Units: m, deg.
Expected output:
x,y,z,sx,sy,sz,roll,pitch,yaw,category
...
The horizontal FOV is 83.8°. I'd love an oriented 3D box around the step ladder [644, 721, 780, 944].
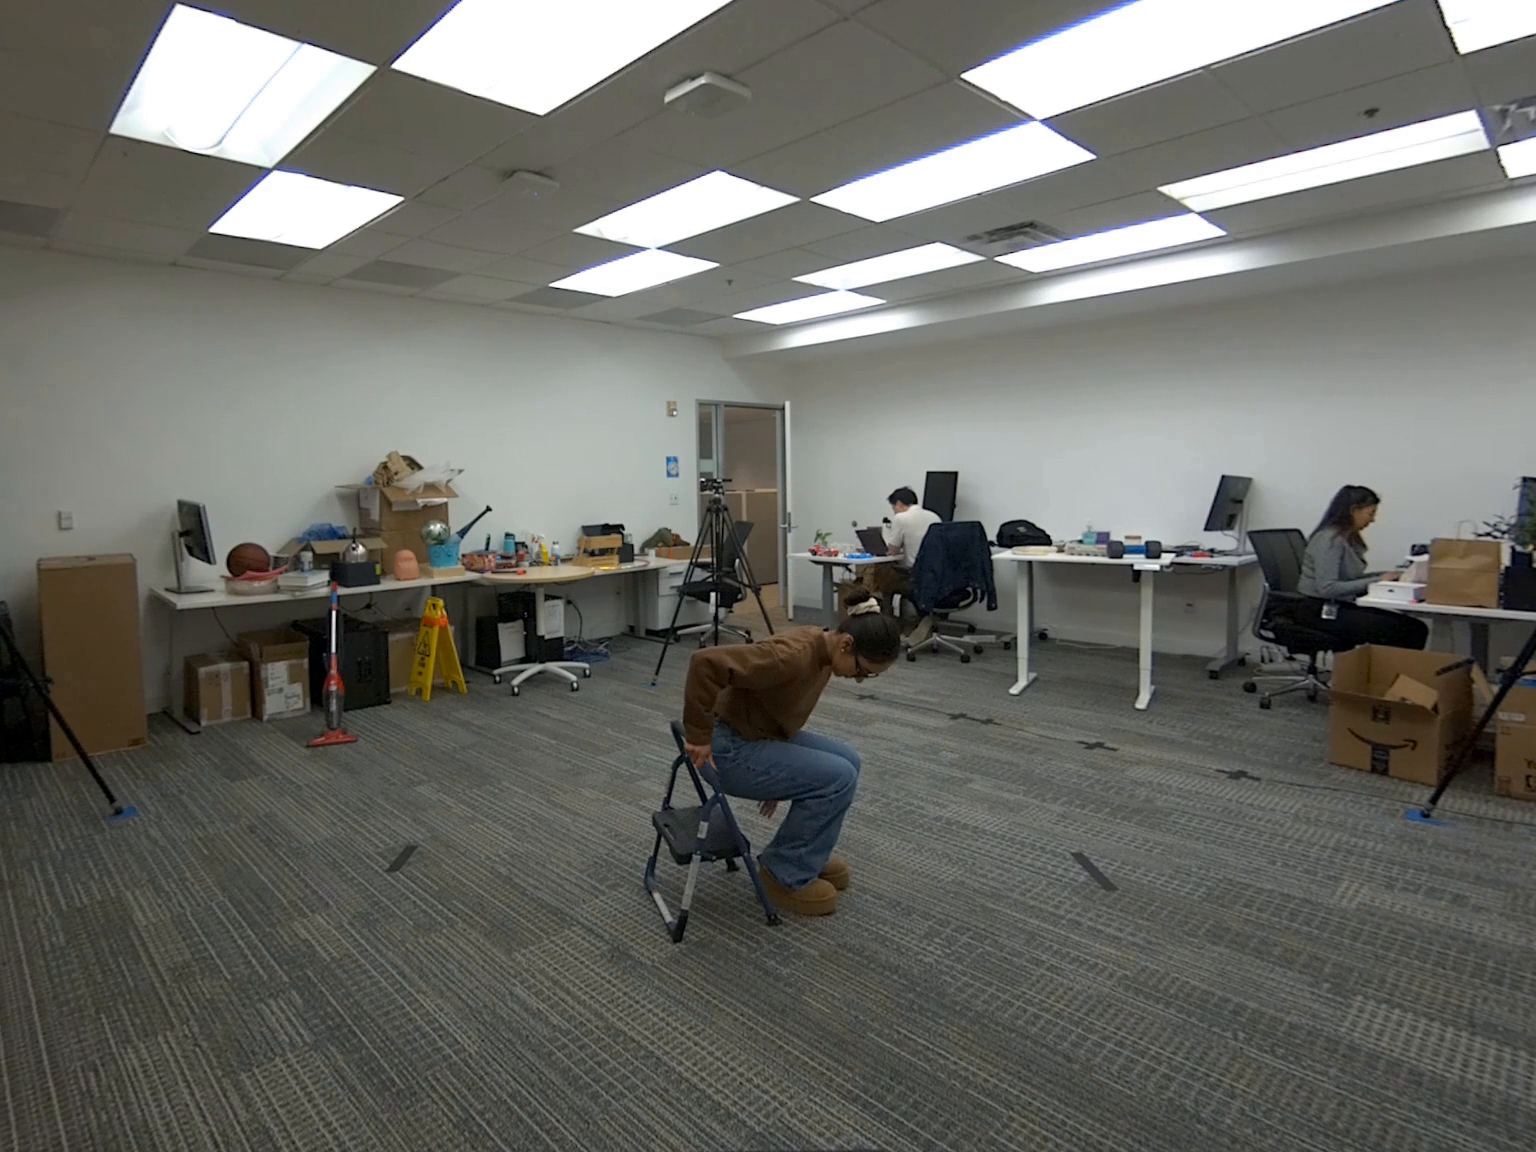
x,y,z,sx,sy,sz,roll,pitch,yaw,category
-0.198,0.783,2.804,0.343,0.603,0.440,-3,5,-21,step ladder
